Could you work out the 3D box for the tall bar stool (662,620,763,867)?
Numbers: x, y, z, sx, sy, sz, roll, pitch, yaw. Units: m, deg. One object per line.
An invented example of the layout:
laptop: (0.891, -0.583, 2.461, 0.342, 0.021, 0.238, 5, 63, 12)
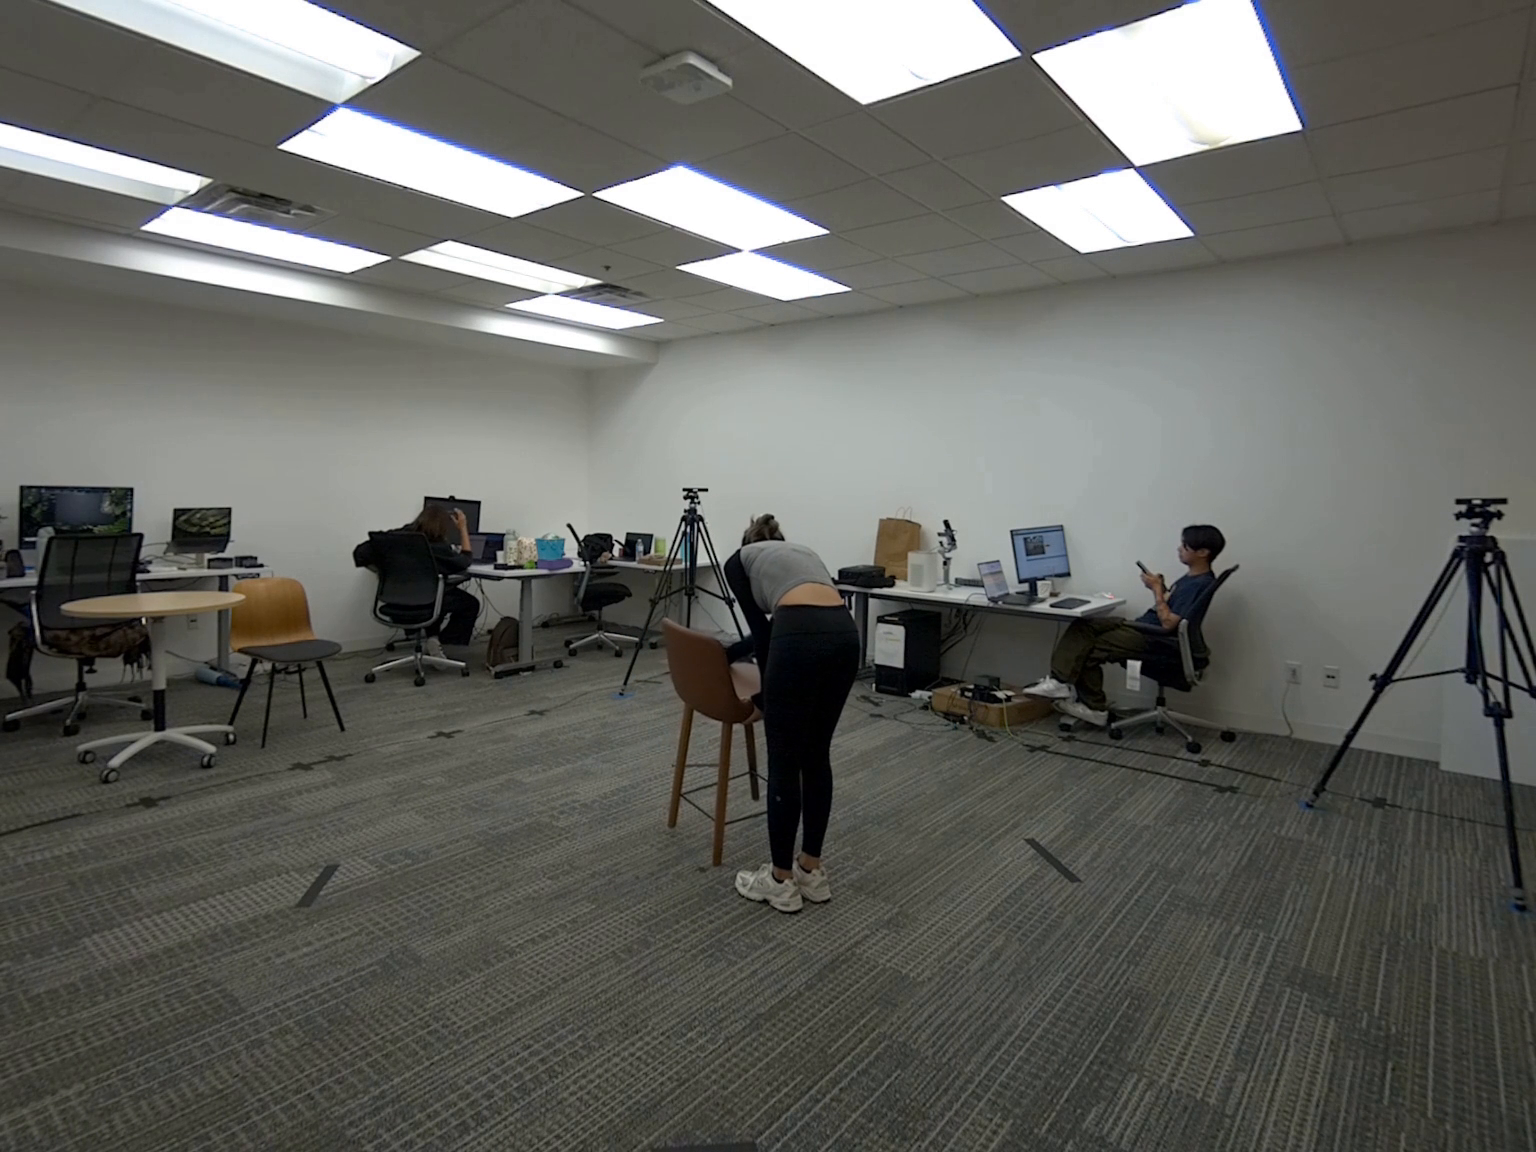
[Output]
tall bar stool: (-0.137, 0.590, 3.343, 0.456, 0.882, 0.472, -7, 11, -33)
